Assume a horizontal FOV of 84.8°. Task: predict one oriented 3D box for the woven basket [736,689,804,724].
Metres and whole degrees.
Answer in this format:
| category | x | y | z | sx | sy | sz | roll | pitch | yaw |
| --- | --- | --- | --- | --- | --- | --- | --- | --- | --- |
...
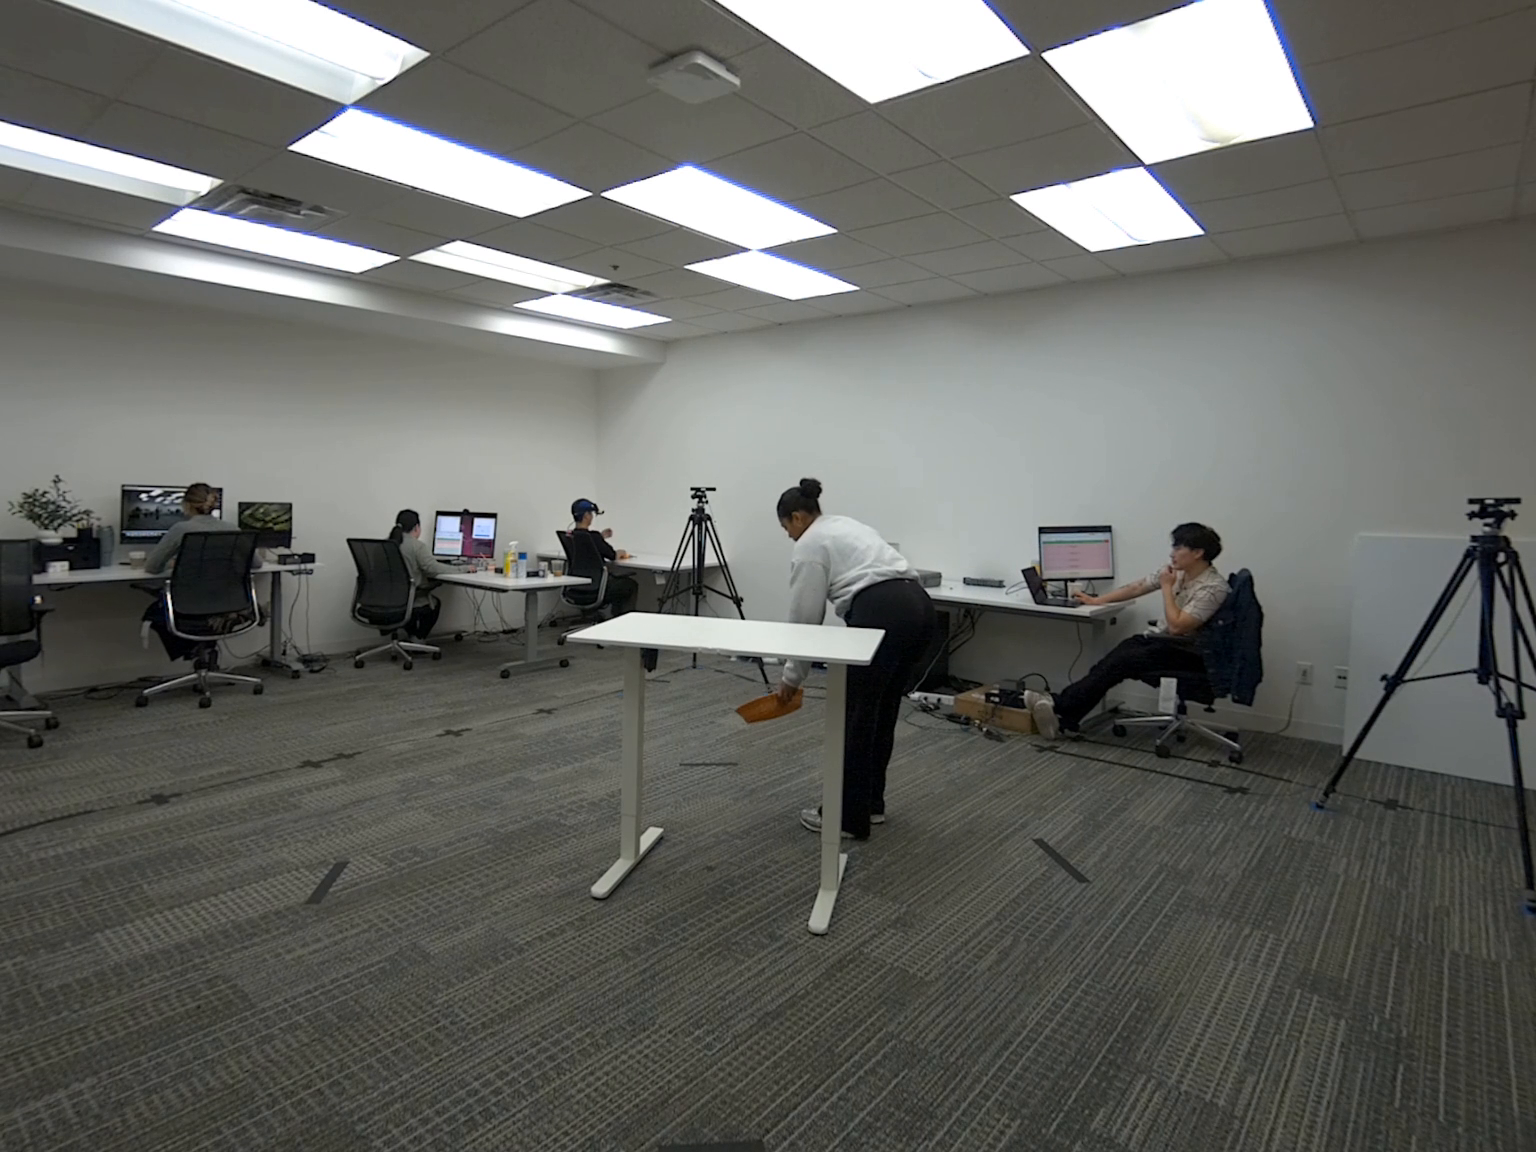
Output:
| category | x | y | z | sx | sy | sz | roll | pitch | yaw |
| --- | --- | --- | --- | --- | --- | --- | --- | --- | --- |
| woven basket | 0.000 | 0.579 | 3.705 | 0.341 | 0.075 | 0.254 | -5 | -21 | -36 |
